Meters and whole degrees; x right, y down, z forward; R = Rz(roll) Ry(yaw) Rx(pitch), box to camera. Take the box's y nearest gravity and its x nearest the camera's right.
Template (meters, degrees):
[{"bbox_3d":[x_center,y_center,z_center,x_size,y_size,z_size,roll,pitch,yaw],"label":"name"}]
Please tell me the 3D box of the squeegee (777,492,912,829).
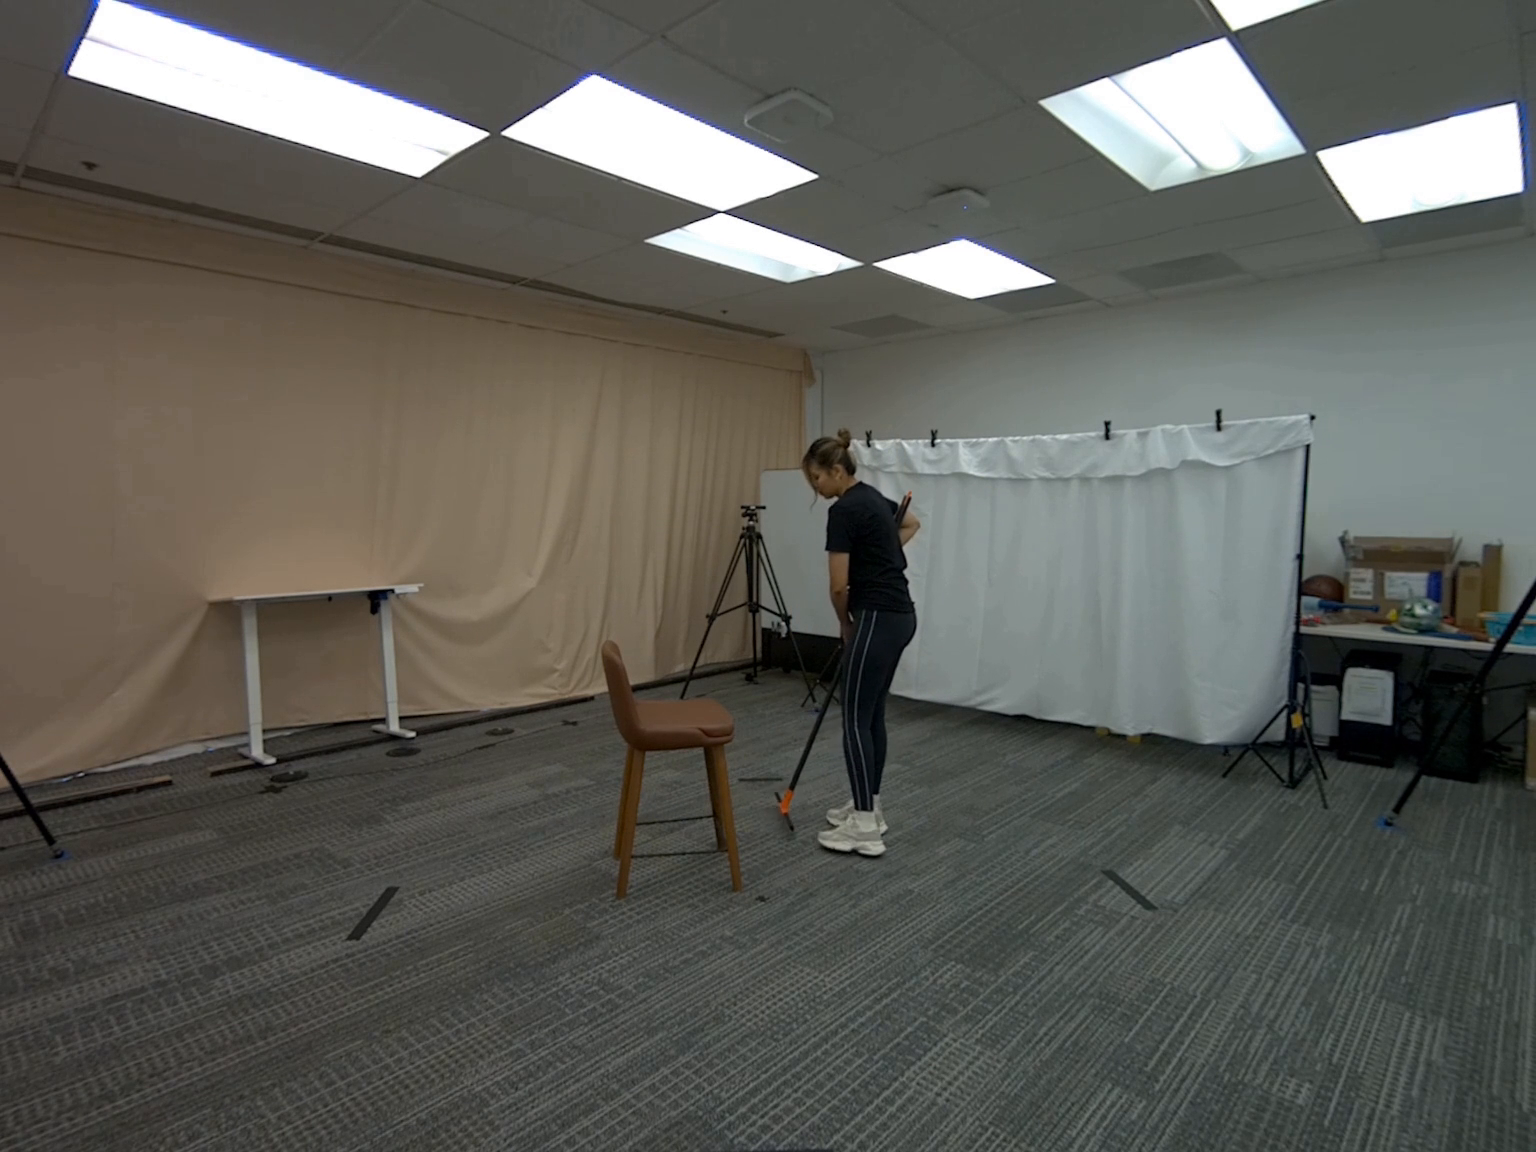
[{"bbox_3d":[0.336,0.346,3.704,0.053,1.537,0.439,22,0,-5],"label":"squeegee"}]
